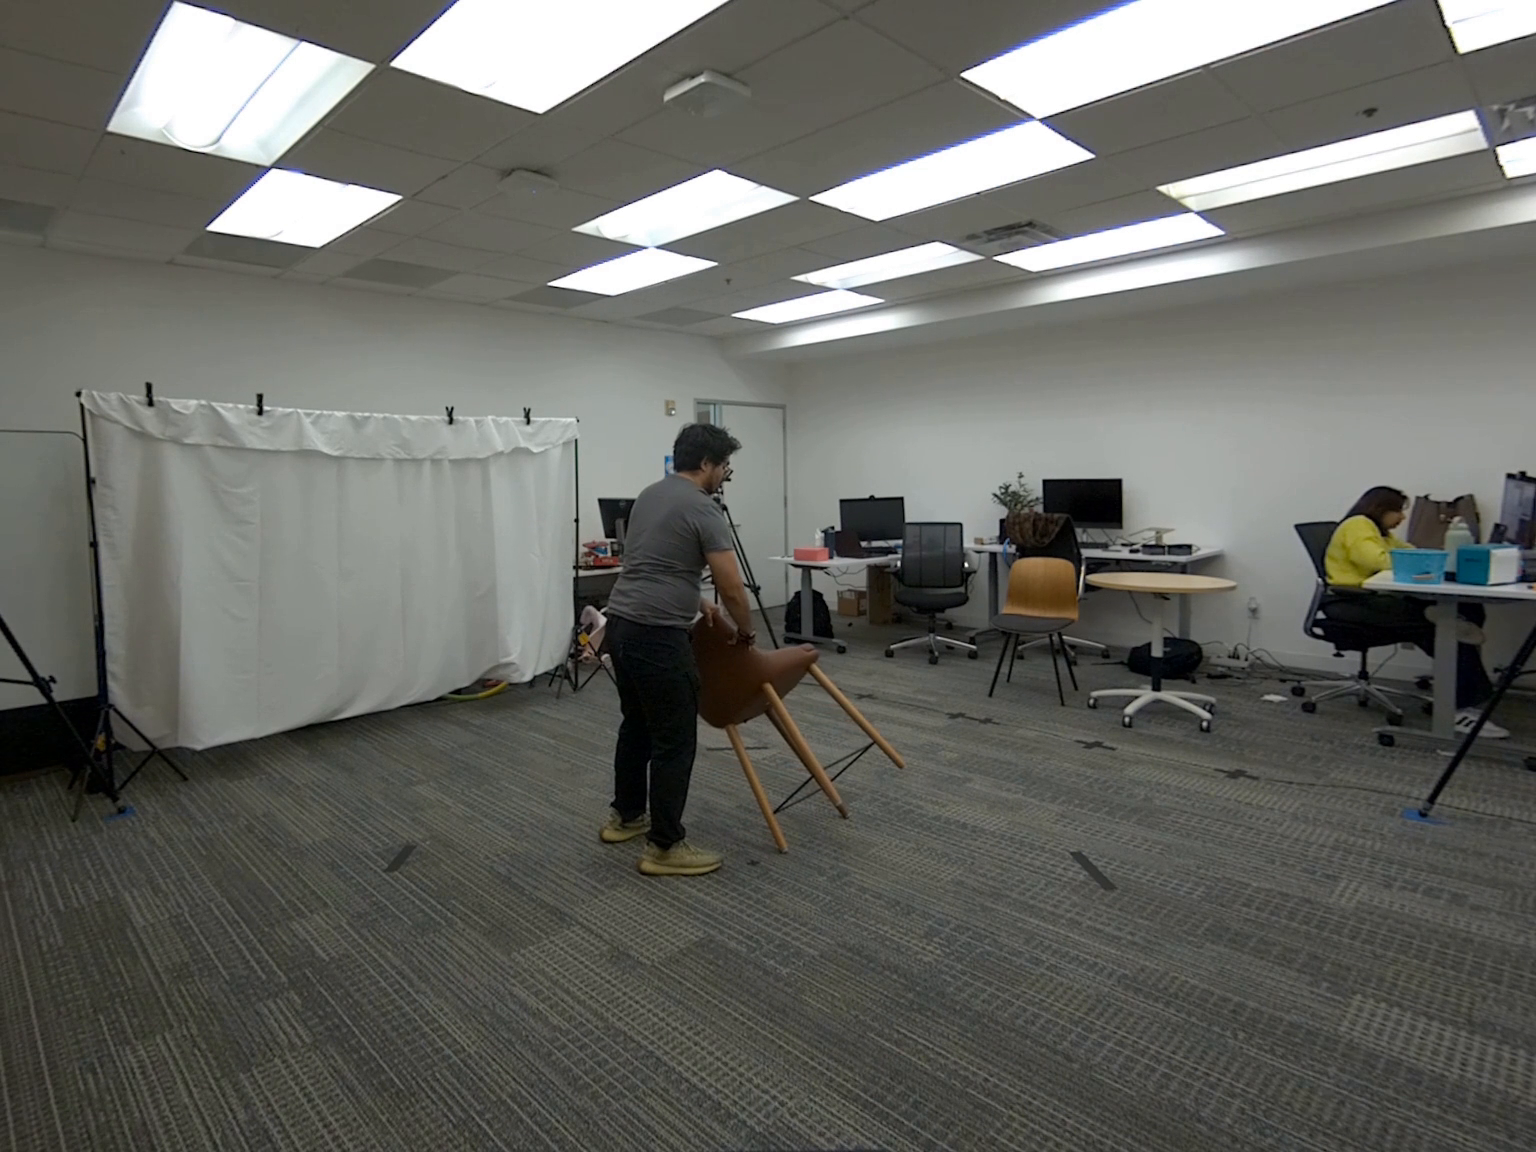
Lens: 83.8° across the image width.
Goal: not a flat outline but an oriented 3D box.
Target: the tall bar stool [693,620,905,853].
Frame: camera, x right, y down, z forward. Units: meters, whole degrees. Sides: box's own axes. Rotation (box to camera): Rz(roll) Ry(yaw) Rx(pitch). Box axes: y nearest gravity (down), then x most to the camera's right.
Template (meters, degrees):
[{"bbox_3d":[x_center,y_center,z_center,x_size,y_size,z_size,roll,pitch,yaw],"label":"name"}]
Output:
[{"bbox_3d":[0.043,0.562,3.426,0.457,0.914,0.455,-12,-33,-49],"label":"tall bar stool"}]
